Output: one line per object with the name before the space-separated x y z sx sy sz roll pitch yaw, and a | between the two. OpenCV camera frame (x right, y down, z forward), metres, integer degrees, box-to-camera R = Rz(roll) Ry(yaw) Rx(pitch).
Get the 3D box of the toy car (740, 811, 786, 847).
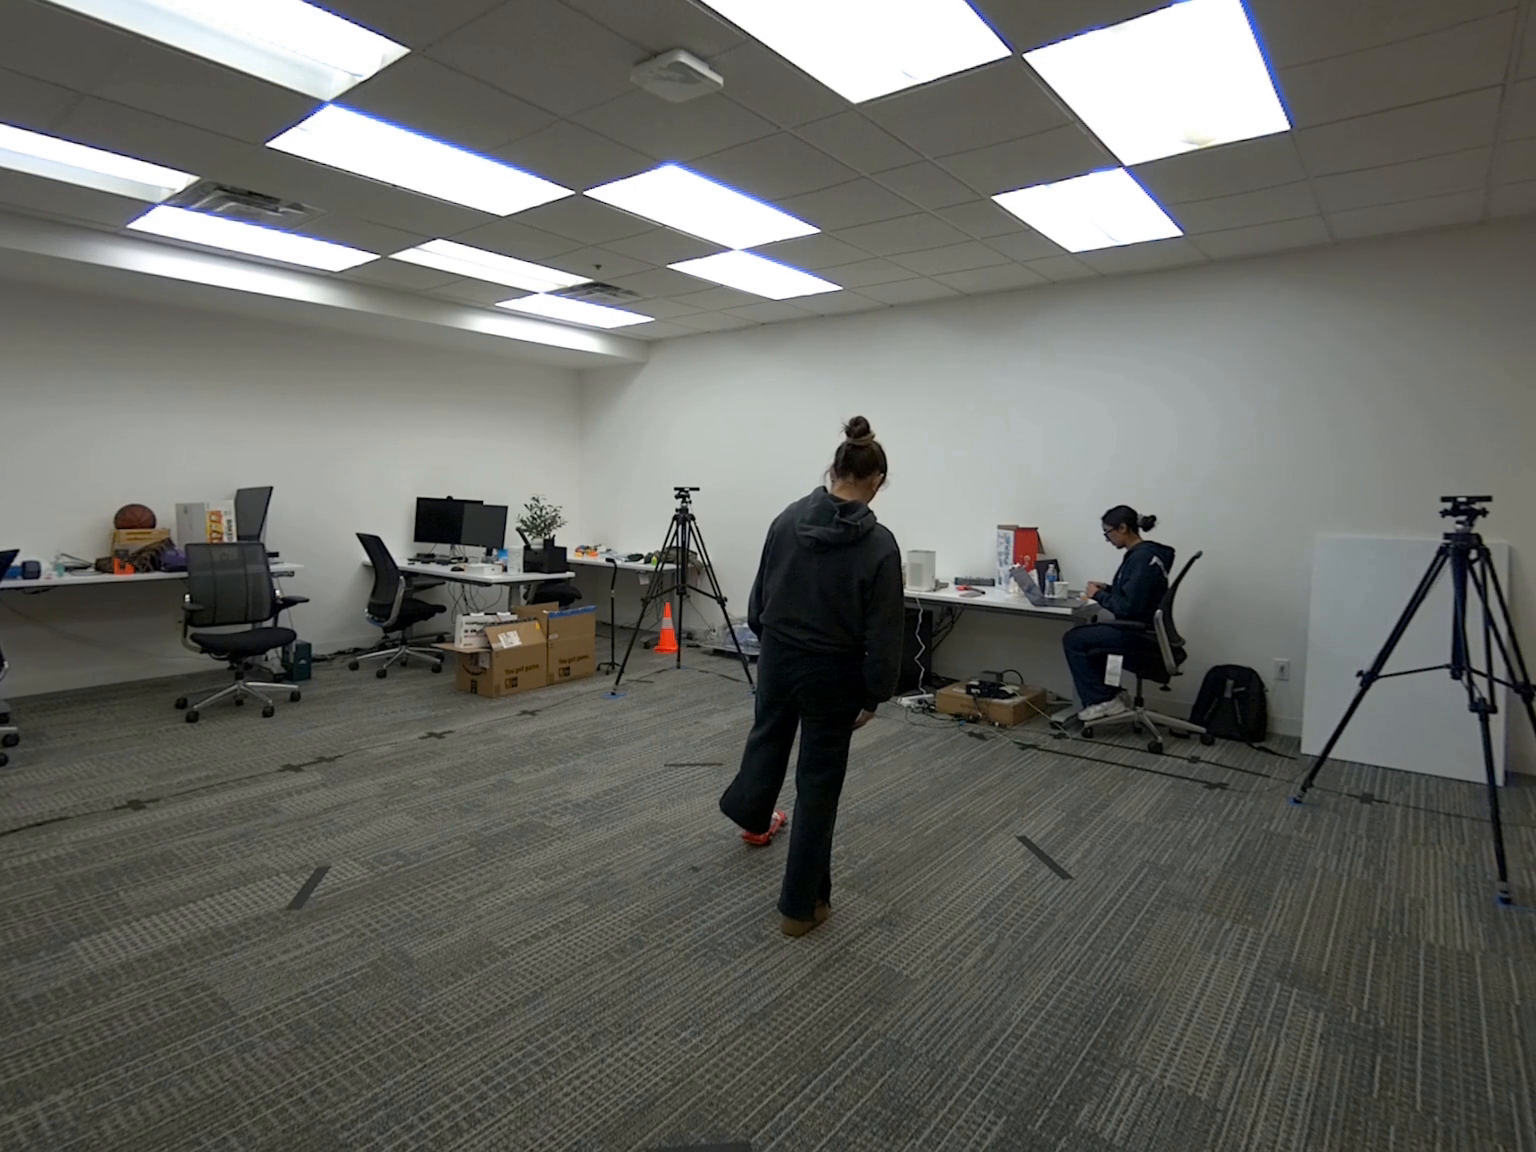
toy car | -0.016 1.004 3.404 0.134 0.083 0.248 3 4 29
